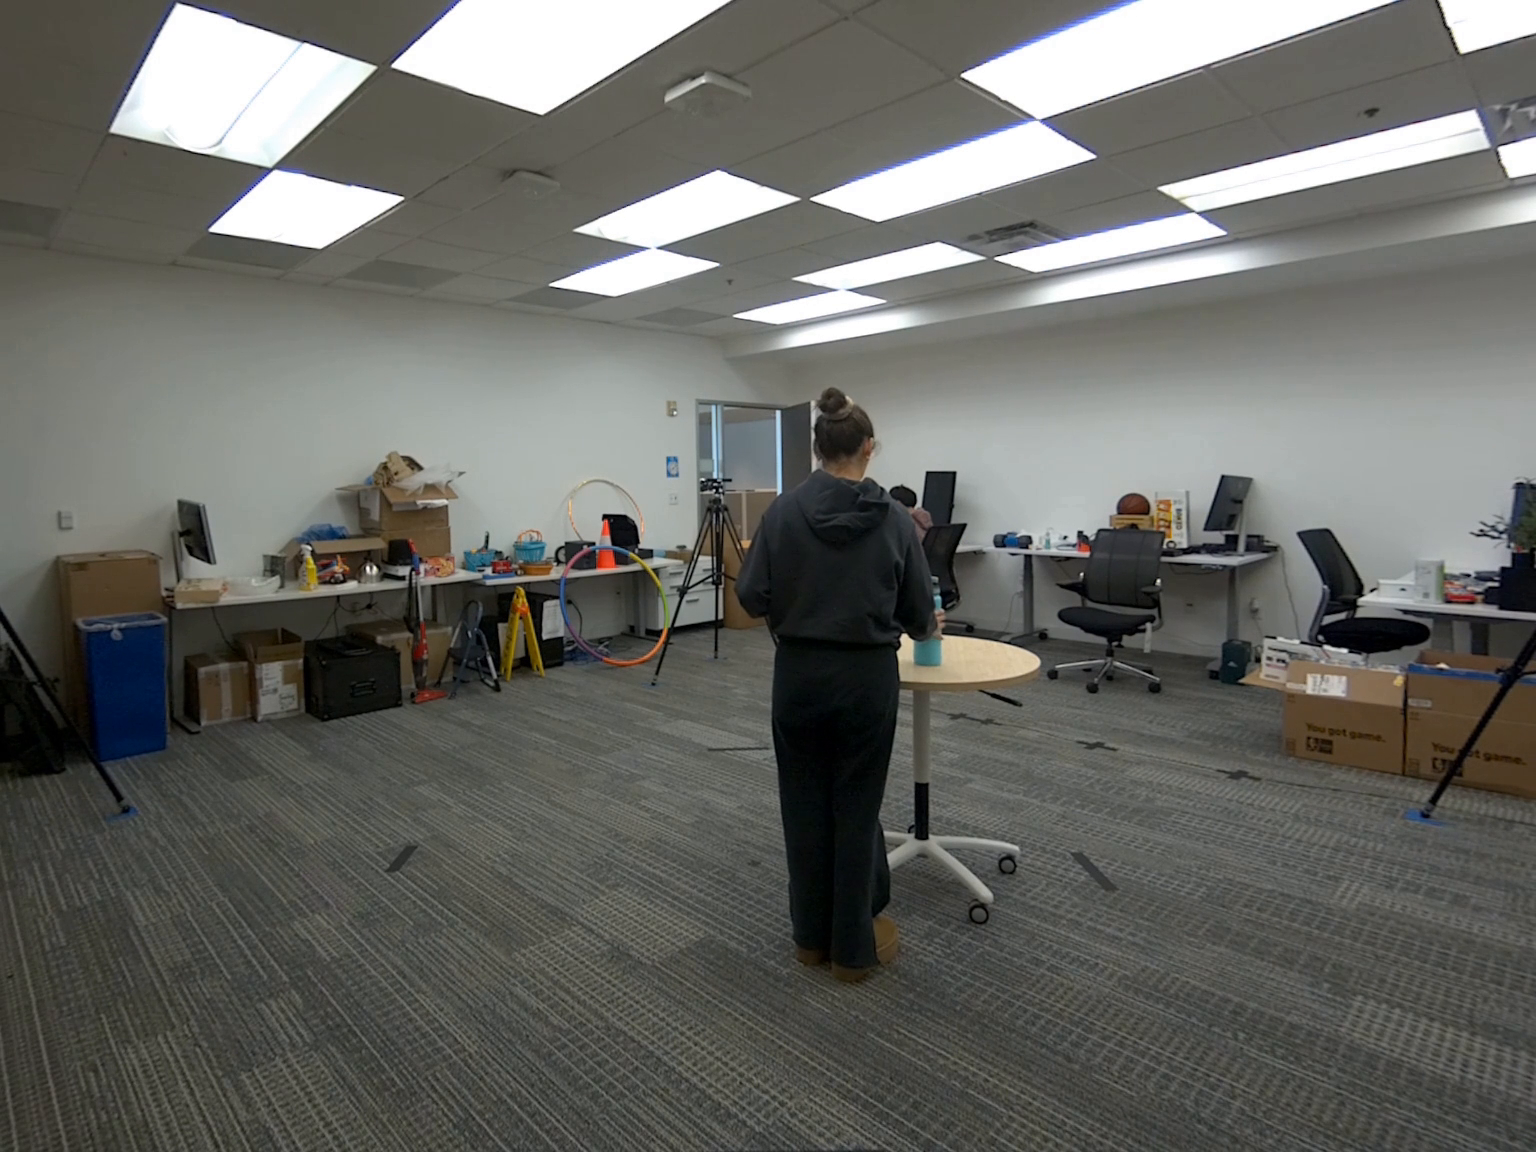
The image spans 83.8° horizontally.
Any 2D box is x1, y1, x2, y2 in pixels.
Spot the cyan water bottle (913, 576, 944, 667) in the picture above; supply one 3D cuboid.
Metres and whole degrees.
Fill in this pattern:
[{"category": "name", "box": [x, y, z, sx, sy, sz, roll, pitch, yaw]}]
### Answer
[{"category": "cyan water bottle", "box": [0.533, 0.148, 2.778, 0.092, 0.282, 0.093, -1, 5, -2]}]
